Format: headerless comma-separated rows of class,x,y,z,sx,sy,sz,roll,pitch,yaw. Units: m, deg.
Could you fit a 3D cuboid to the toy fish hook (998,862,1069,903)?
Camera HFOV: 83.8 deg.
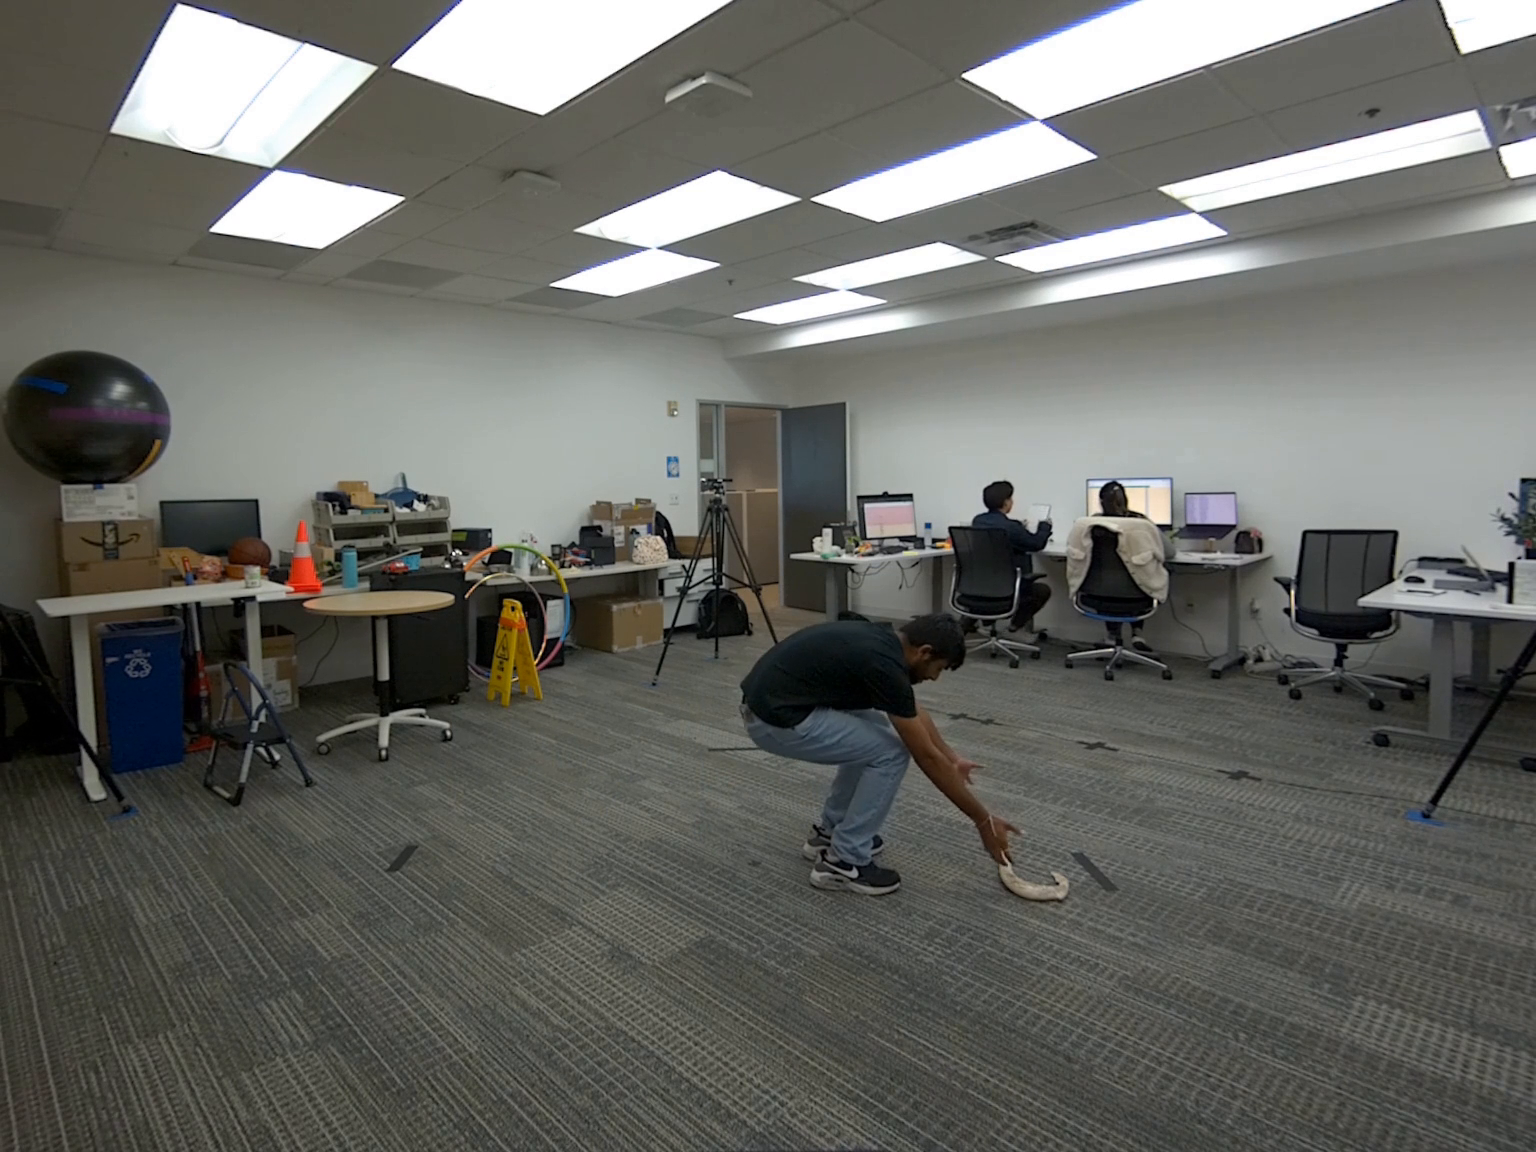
toy fish hook,0.900,1.014,3.038,0.224,0.048,0.509,6,7,-3
